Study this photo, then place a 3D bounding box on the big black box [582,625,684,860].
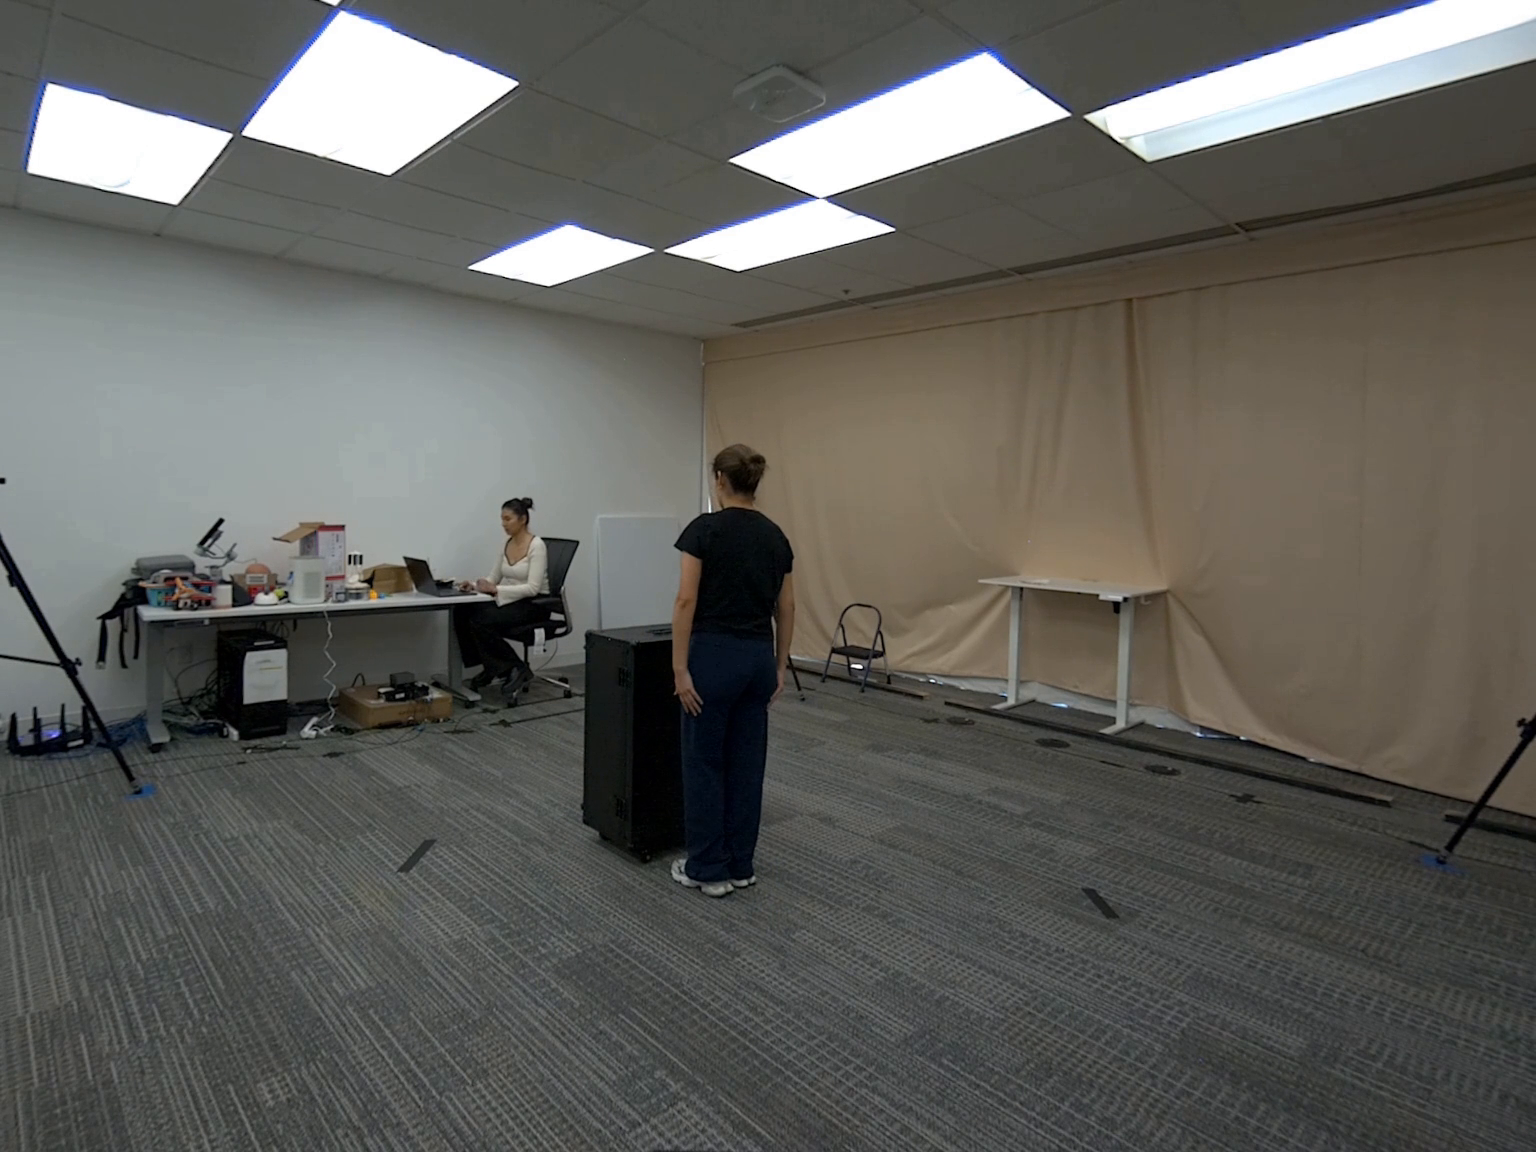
[{"bbox_3d":[-0.458,0.652,3.389,0.509,0.860,0.406,-1,3,-41],"label":"big black box"}]
